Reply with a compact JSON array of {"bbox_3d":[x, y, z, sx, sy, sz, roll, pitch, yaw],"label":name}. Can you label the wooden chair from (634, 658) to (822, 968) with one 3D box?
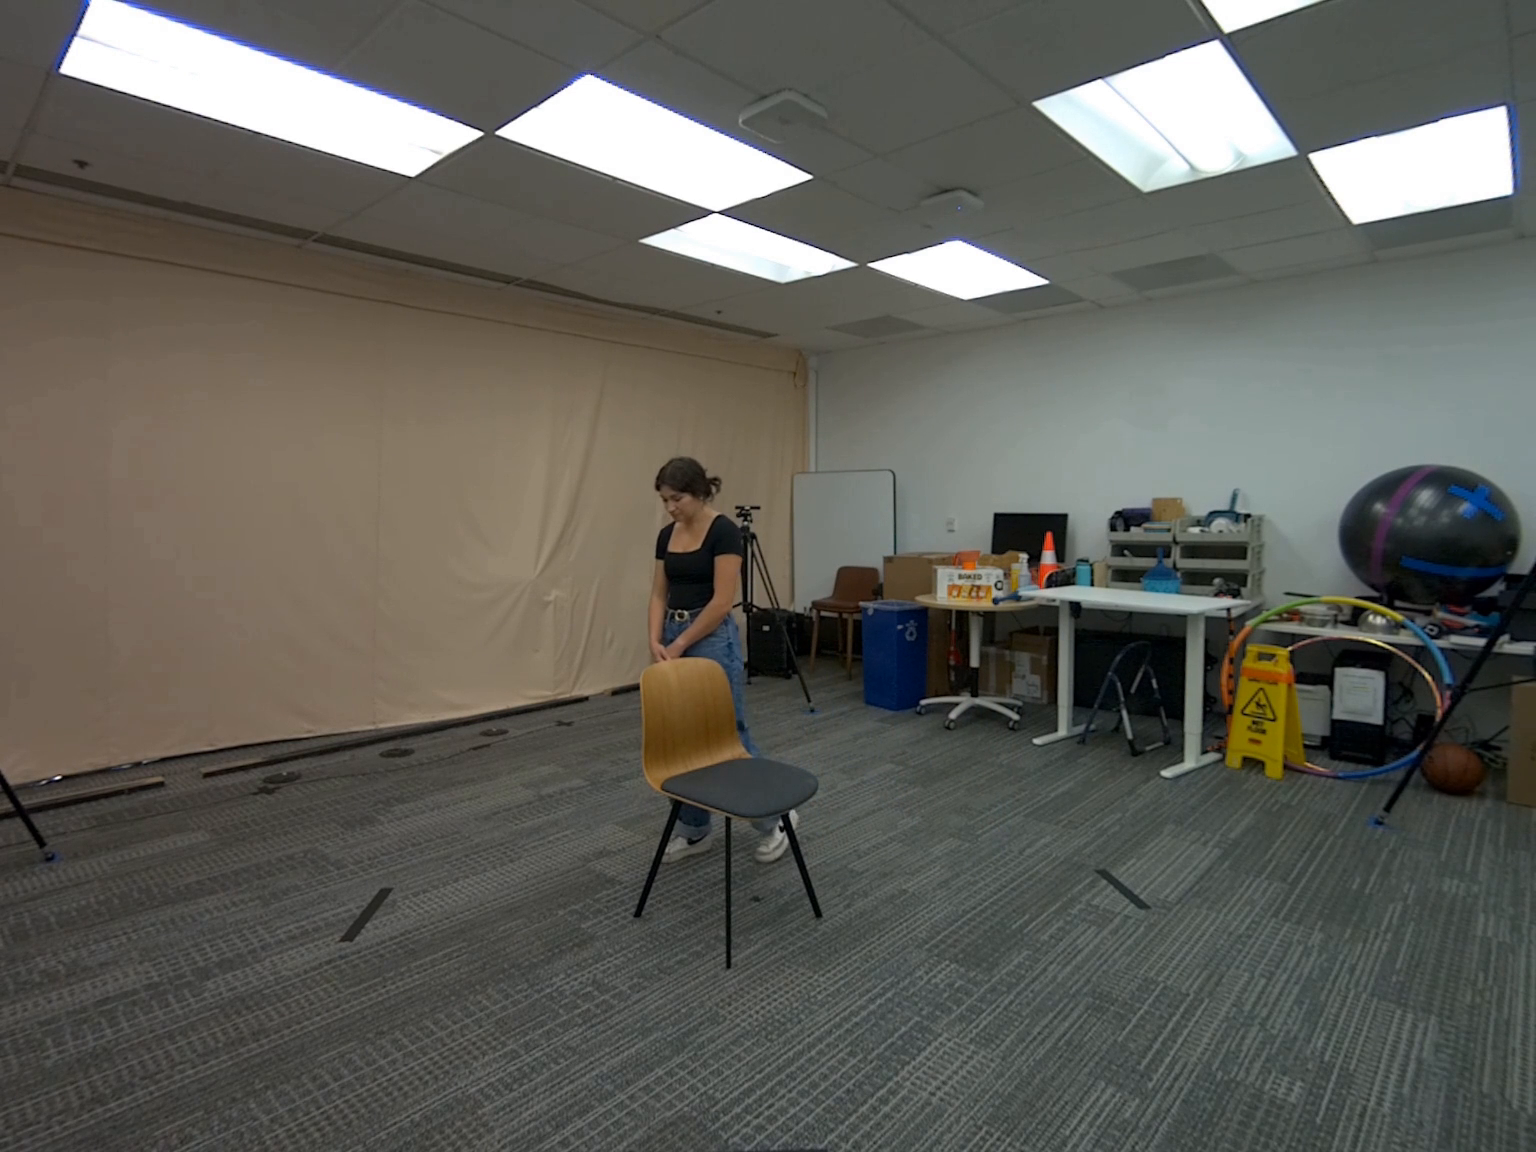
[{"bbox_3d":[-0.128,0.732,2.813,0.539,0.877,0.463,-4,0,43],"label":"wooden chair"}]
